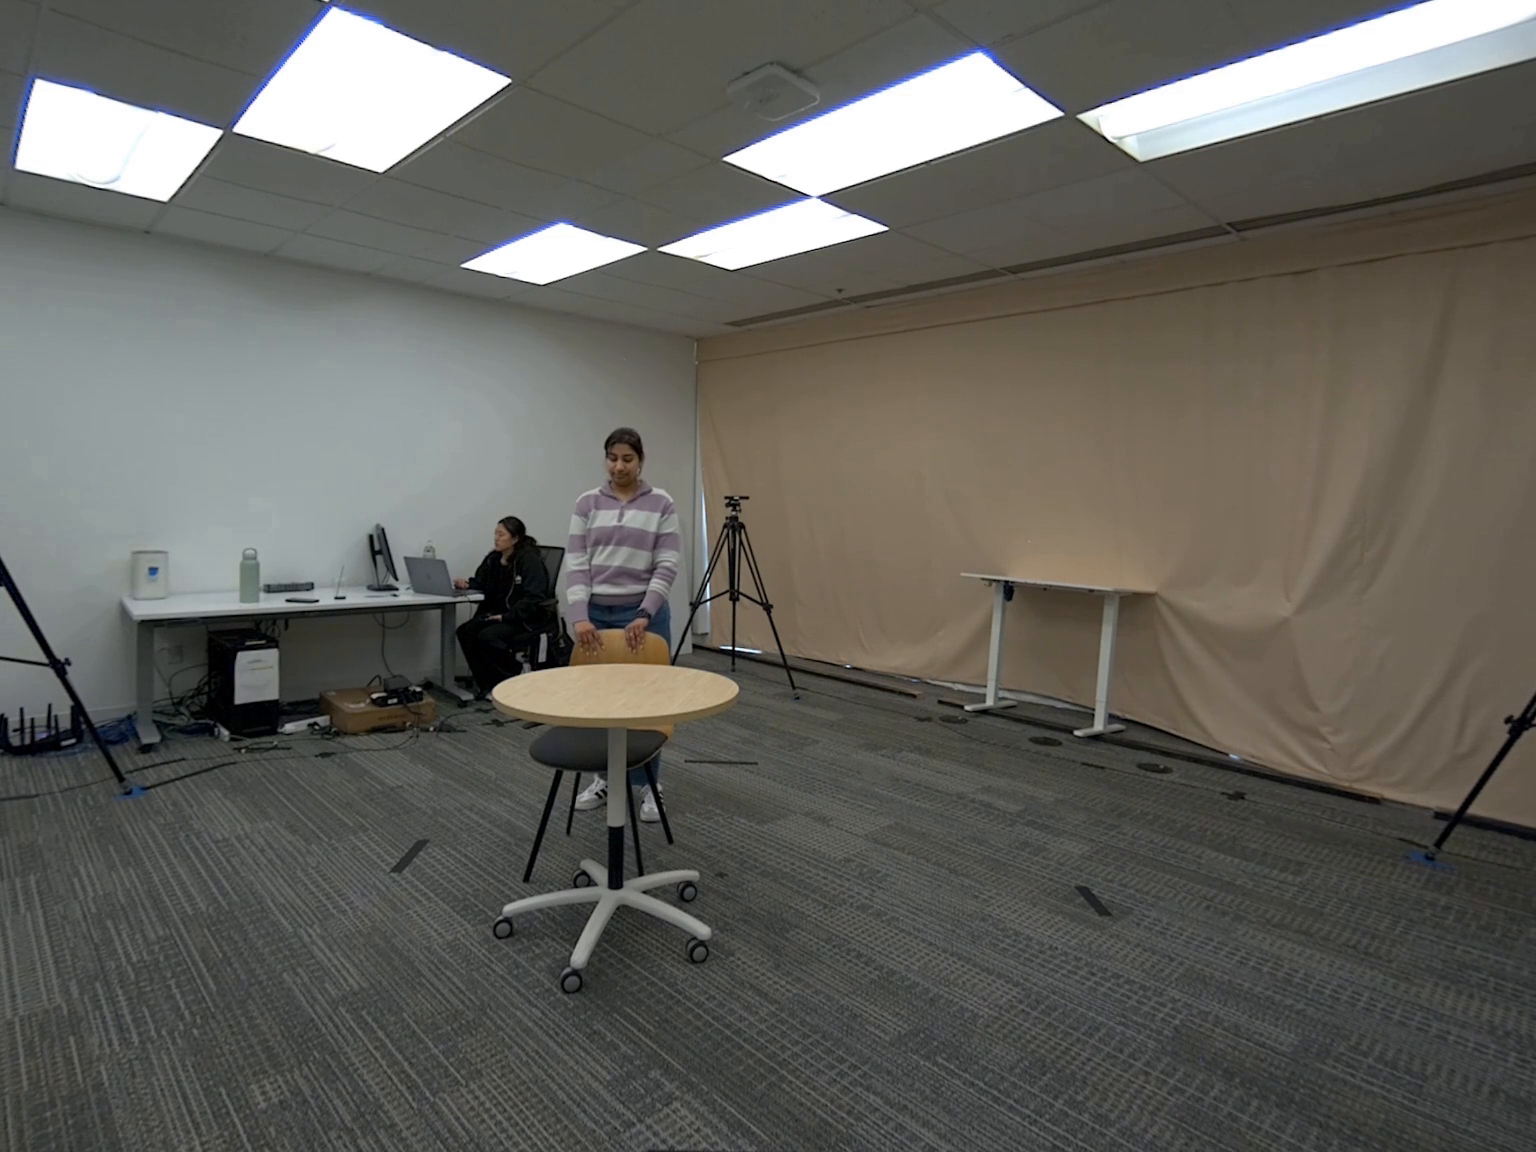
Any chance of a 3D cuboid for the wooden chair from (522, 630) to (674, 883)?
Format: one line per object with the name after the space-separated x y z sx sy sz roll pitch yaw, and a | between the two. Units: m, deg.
-0.620 0.661 3.158 0.482 0.878 0.519 2 0 8 | wooden chair
